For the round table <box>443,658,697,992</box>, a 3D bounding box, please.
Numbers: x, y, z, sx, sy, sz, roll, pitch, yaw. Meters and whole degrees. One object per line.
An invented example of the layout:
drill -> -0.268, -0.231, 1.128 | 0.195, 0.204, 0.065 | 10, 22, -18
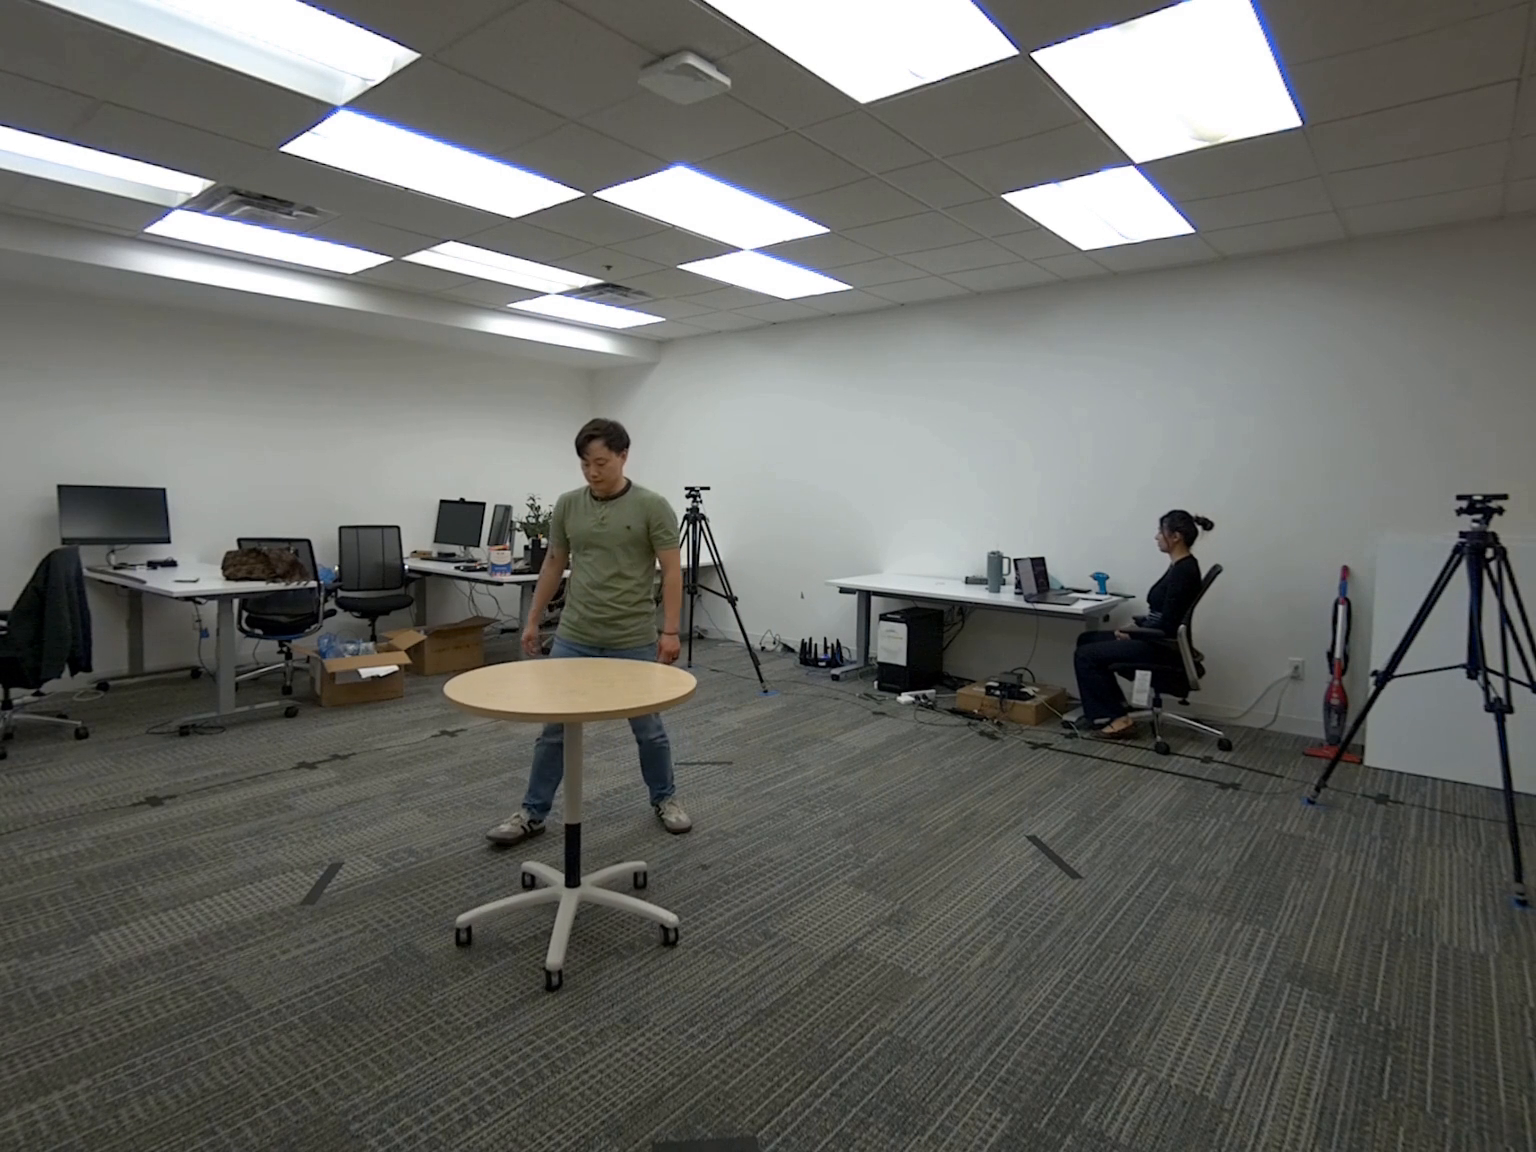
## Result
round table -> -0.615, 0.717, 2.651 | 0.763, 0.791, 0.768 | 0, 4, -2
